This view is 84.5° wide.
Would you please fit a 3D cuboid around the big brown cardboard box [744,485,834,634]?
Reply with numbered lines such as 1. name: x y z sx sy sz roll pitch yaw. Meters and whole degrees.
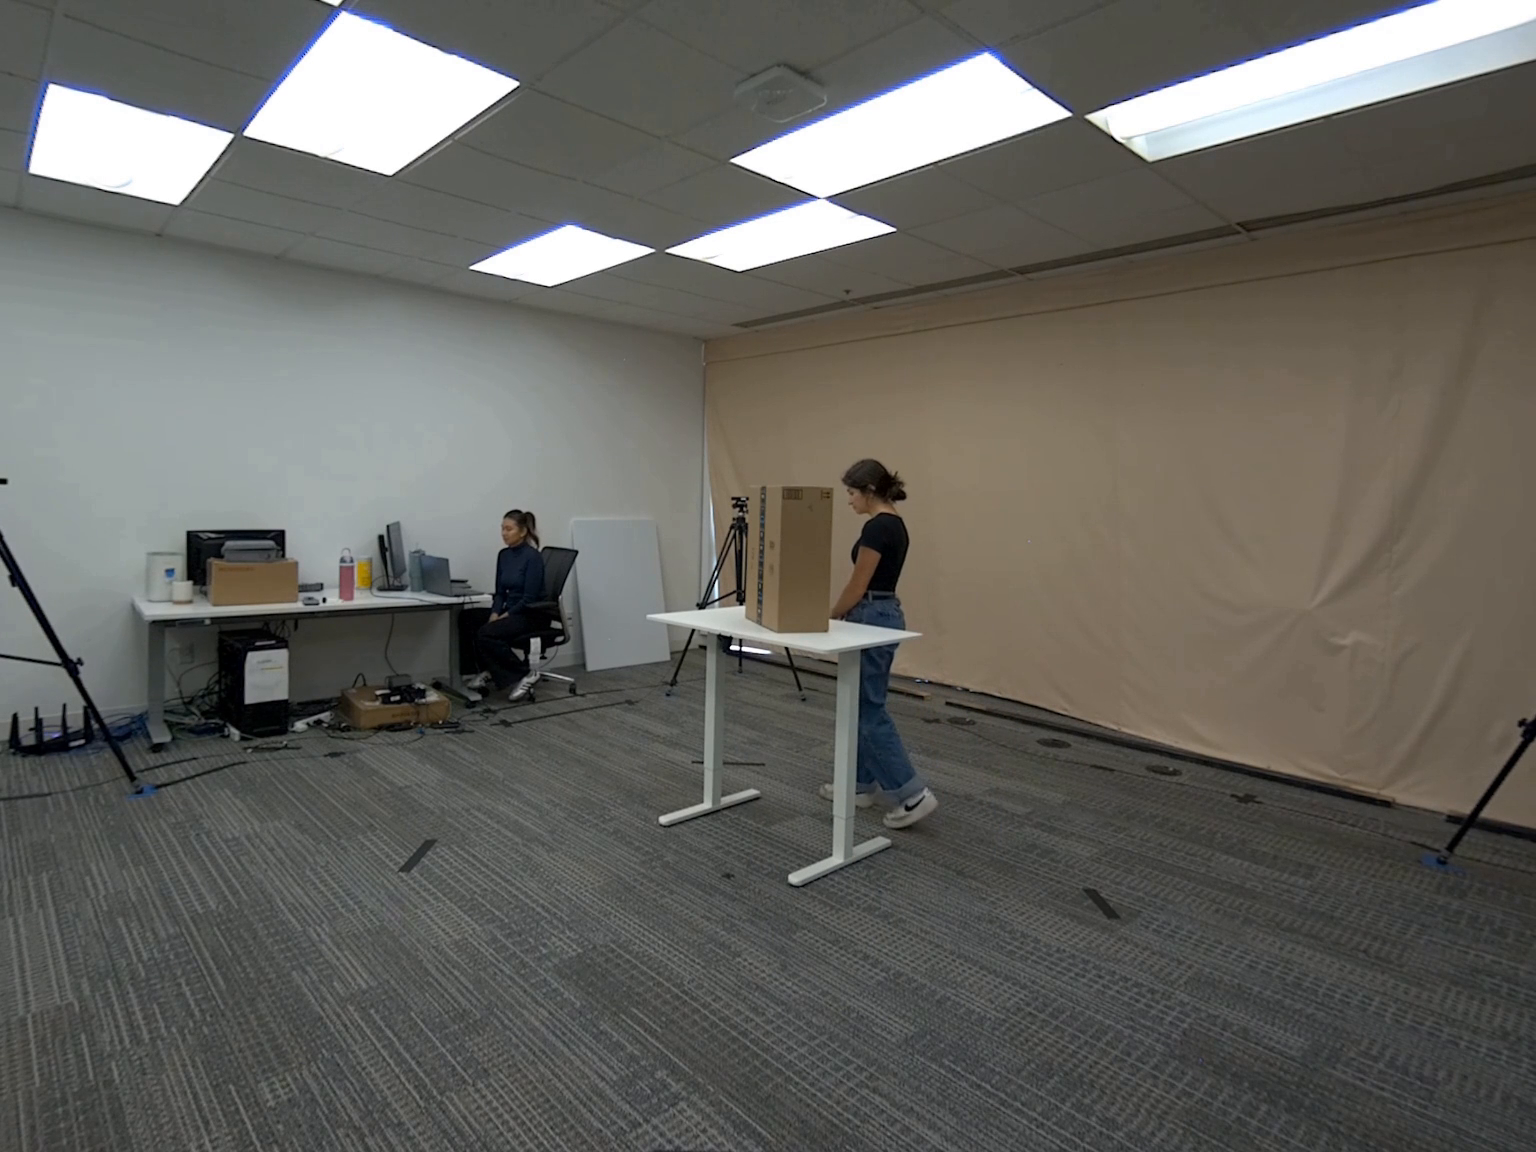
1. big brown cardboard box: 0.072 -0.078 3.424 0.230 0.587 0.425 0 5 -18
